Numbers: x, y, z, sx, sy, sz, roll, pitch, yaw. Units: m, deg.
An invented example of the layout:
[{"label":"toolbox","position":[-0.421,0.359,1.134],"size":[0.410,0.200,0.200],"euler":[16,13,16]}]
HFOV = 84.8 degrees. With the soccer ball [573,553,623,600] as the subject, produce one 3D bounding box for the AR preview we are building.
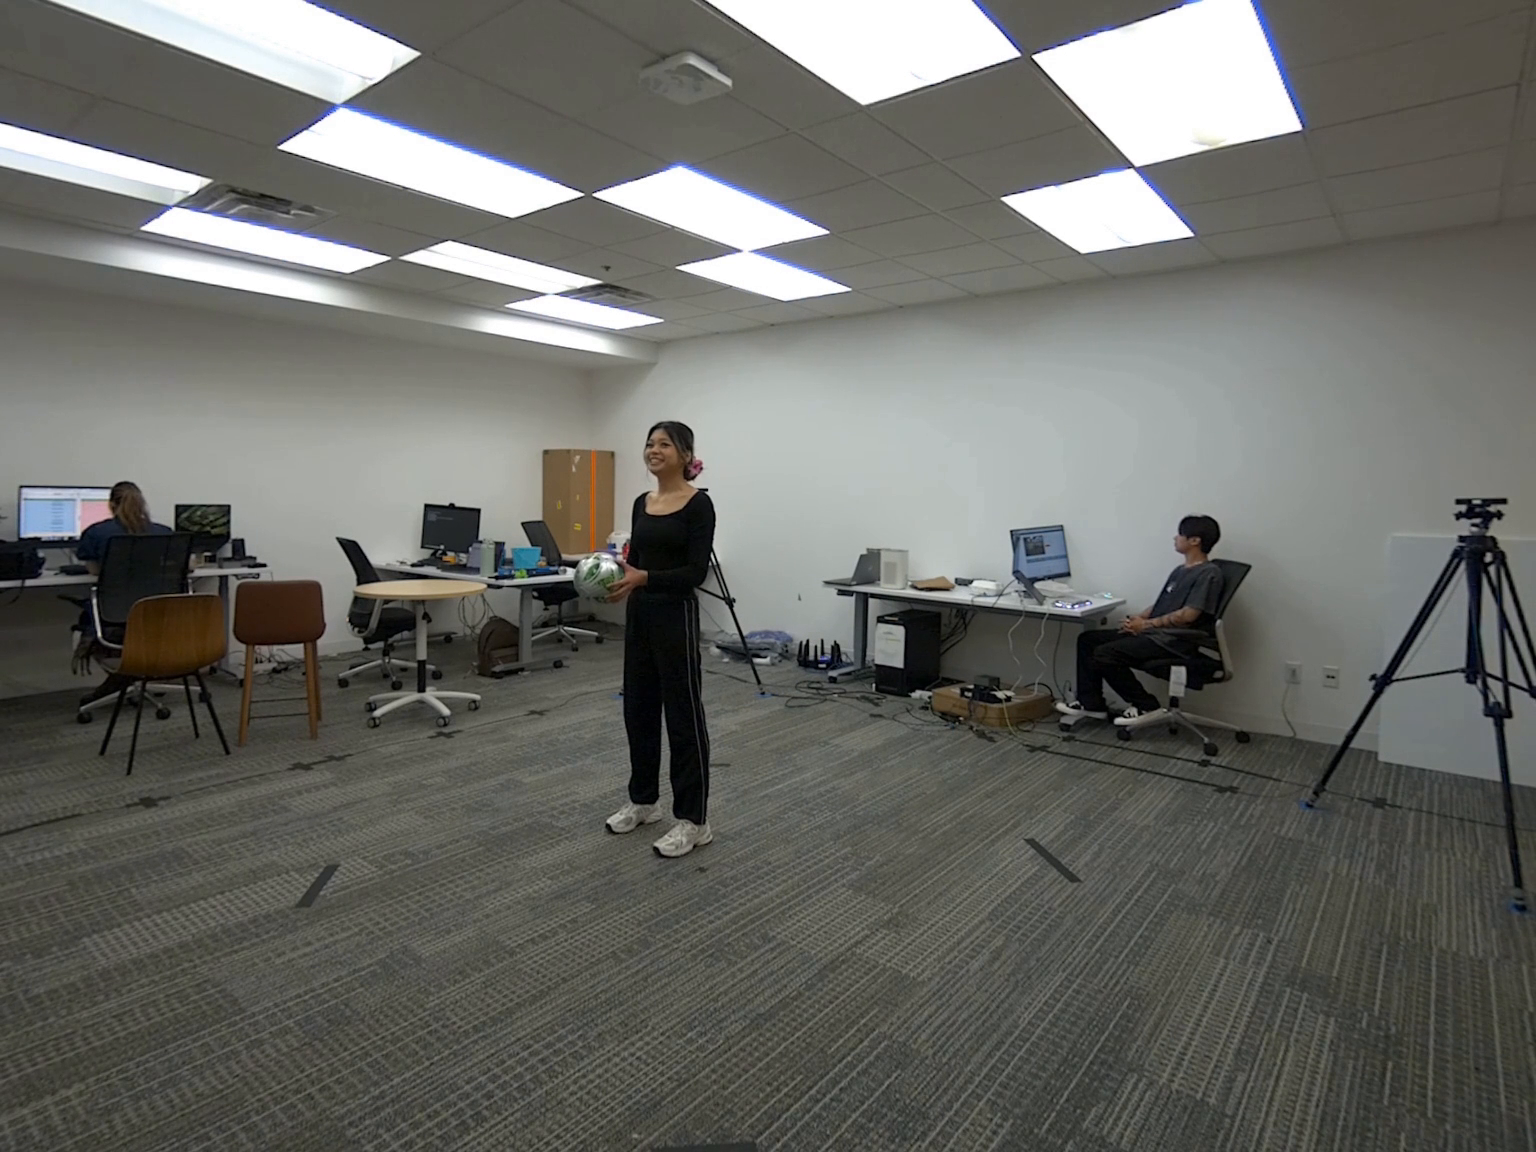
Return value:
[{"label":"soccer ball","position":[-0.611,-0.002,3.054],"size":[0.187,0.187,0.188],"euler":[1,4,-2]}]
